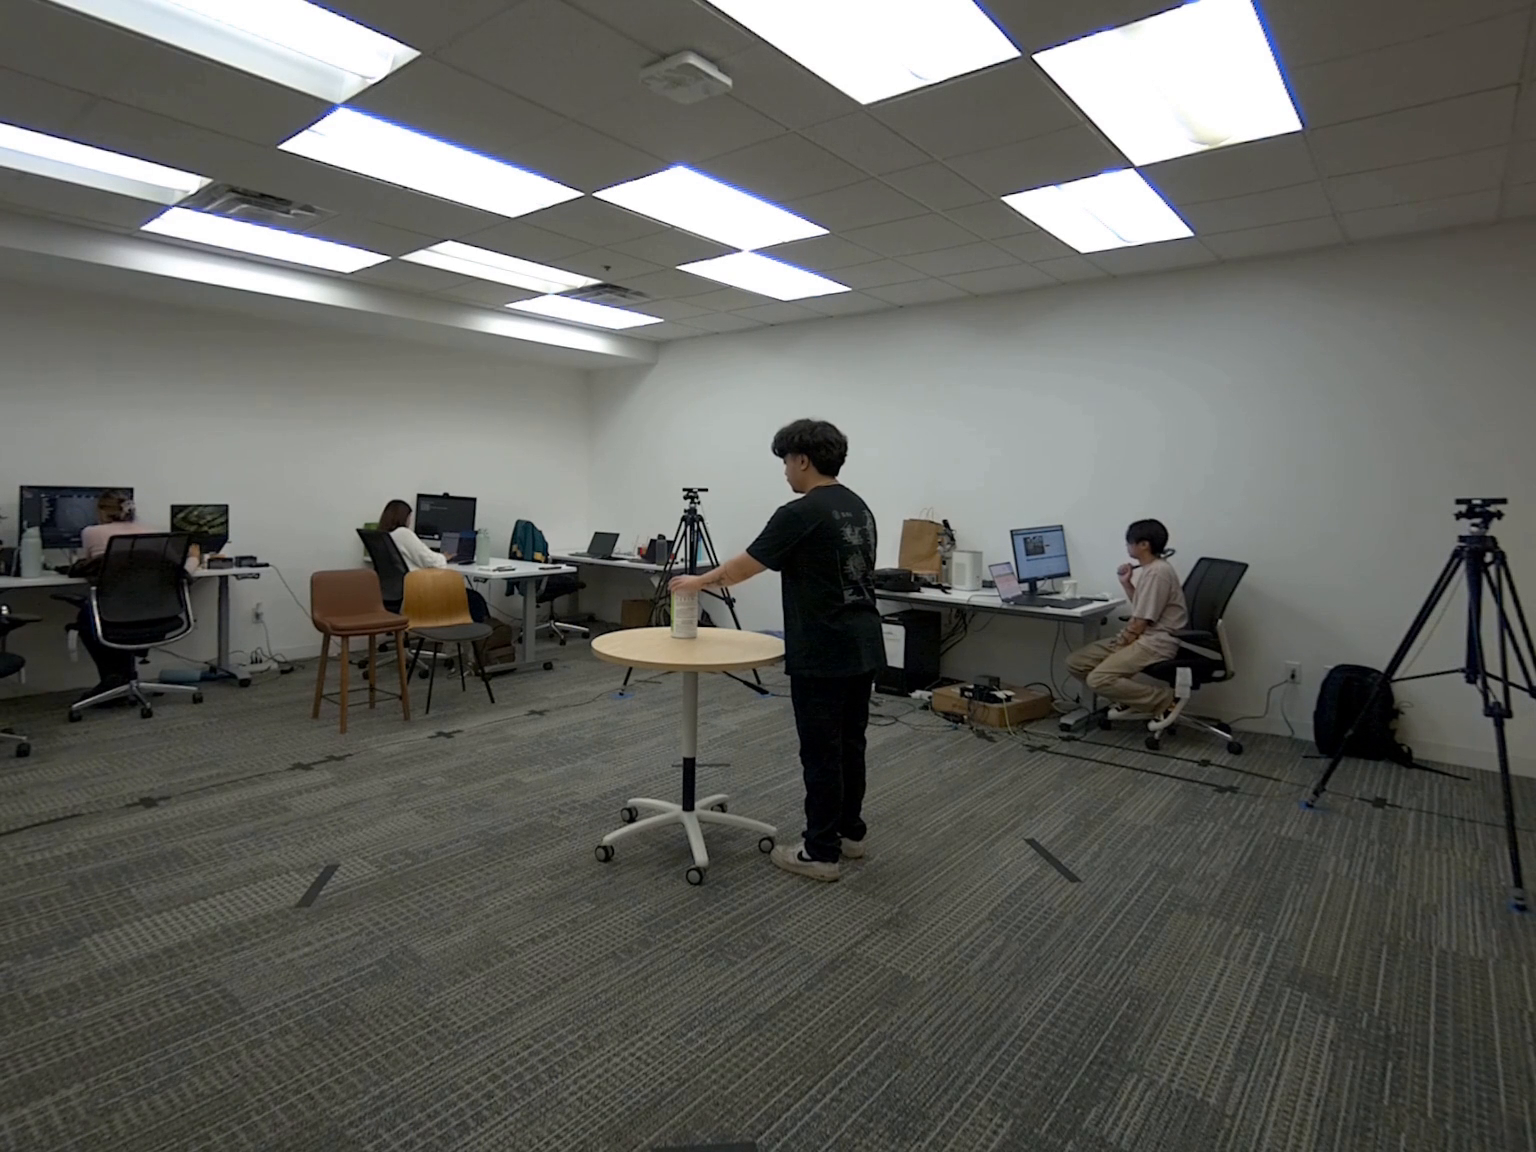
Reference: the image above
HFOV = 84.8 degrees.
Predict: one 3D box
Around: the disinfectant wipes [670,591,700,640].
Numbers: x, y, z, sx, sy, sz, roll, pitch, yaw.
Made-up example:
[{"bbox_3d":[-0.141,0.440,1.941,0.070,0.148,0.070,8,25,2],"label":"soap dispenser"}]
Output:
[{"bbox_3d":[-0.347,0.135,3.427,0.118,0.217,0.118,1,4,-2],"label":"disinfectant wipes"}]
